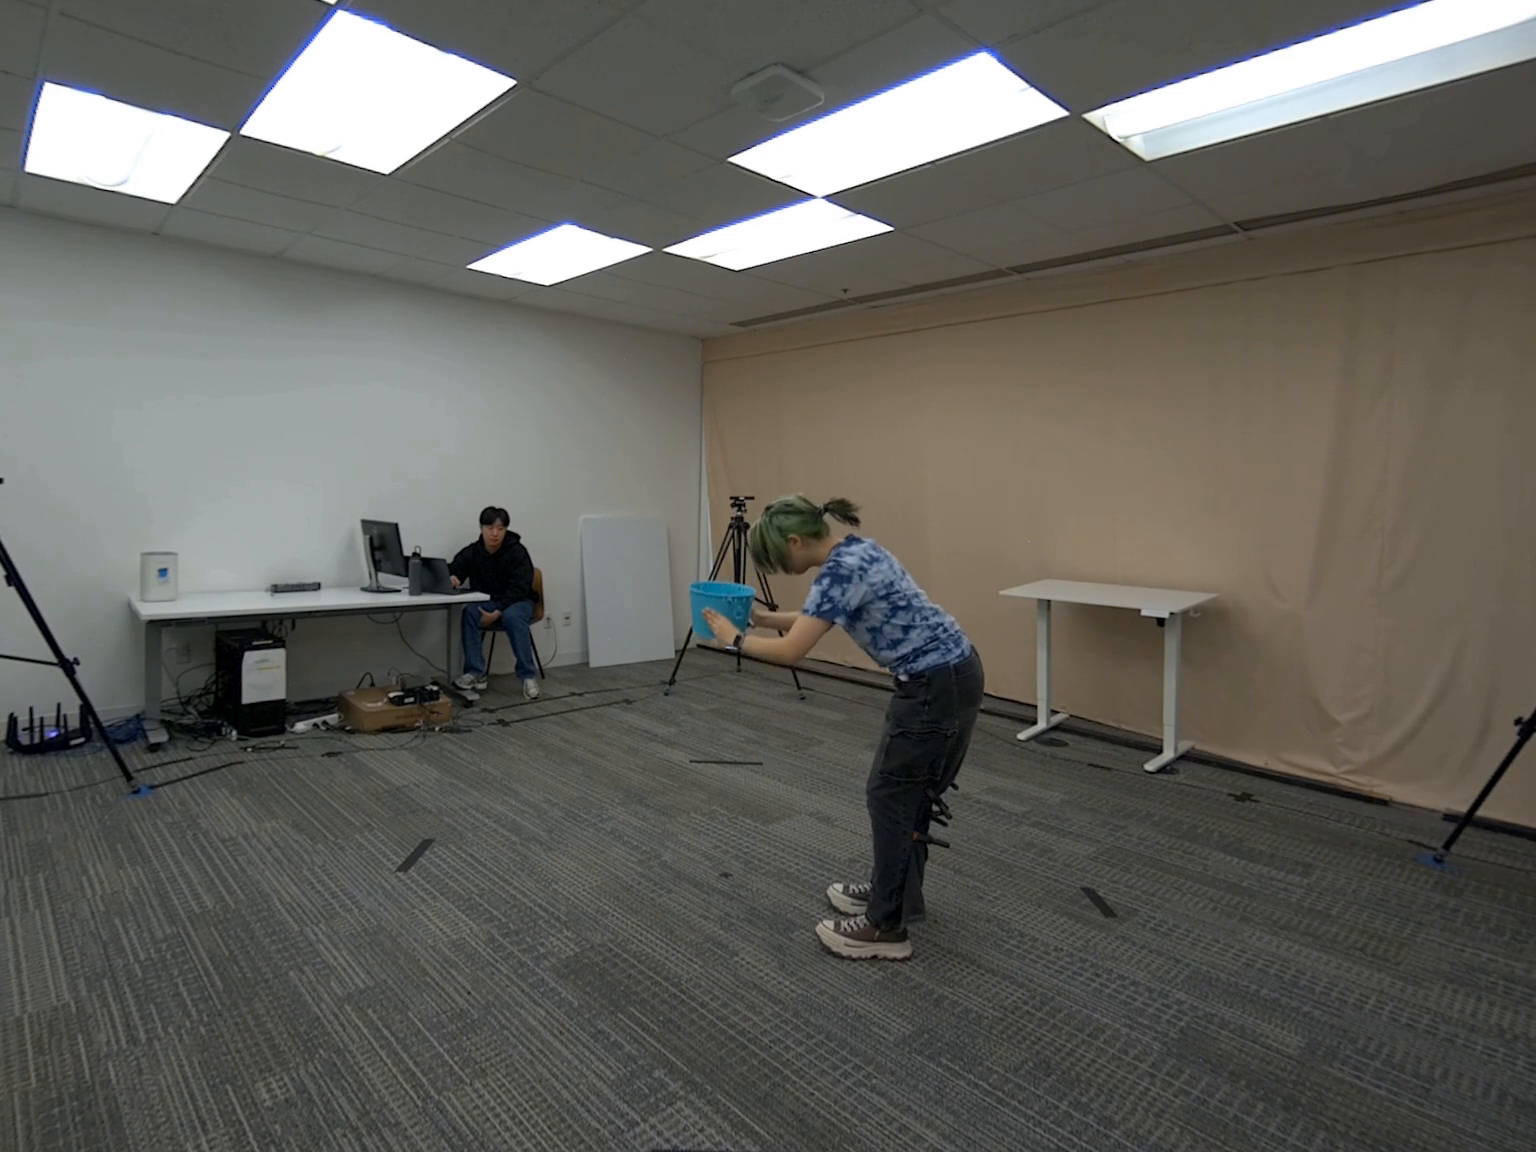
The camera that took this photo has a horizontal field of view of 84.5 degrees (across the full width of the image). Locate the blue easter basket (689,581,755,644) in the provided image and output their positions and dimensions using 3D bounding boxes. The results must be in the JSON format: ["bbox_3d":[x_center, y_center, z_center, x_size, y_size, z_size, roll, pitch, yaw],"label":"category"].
[{"bbox_3d":[-0.146,0.123,2.861,0.243,0.155,0.245,2,10,-2],"label":"blue easter basket"}]
